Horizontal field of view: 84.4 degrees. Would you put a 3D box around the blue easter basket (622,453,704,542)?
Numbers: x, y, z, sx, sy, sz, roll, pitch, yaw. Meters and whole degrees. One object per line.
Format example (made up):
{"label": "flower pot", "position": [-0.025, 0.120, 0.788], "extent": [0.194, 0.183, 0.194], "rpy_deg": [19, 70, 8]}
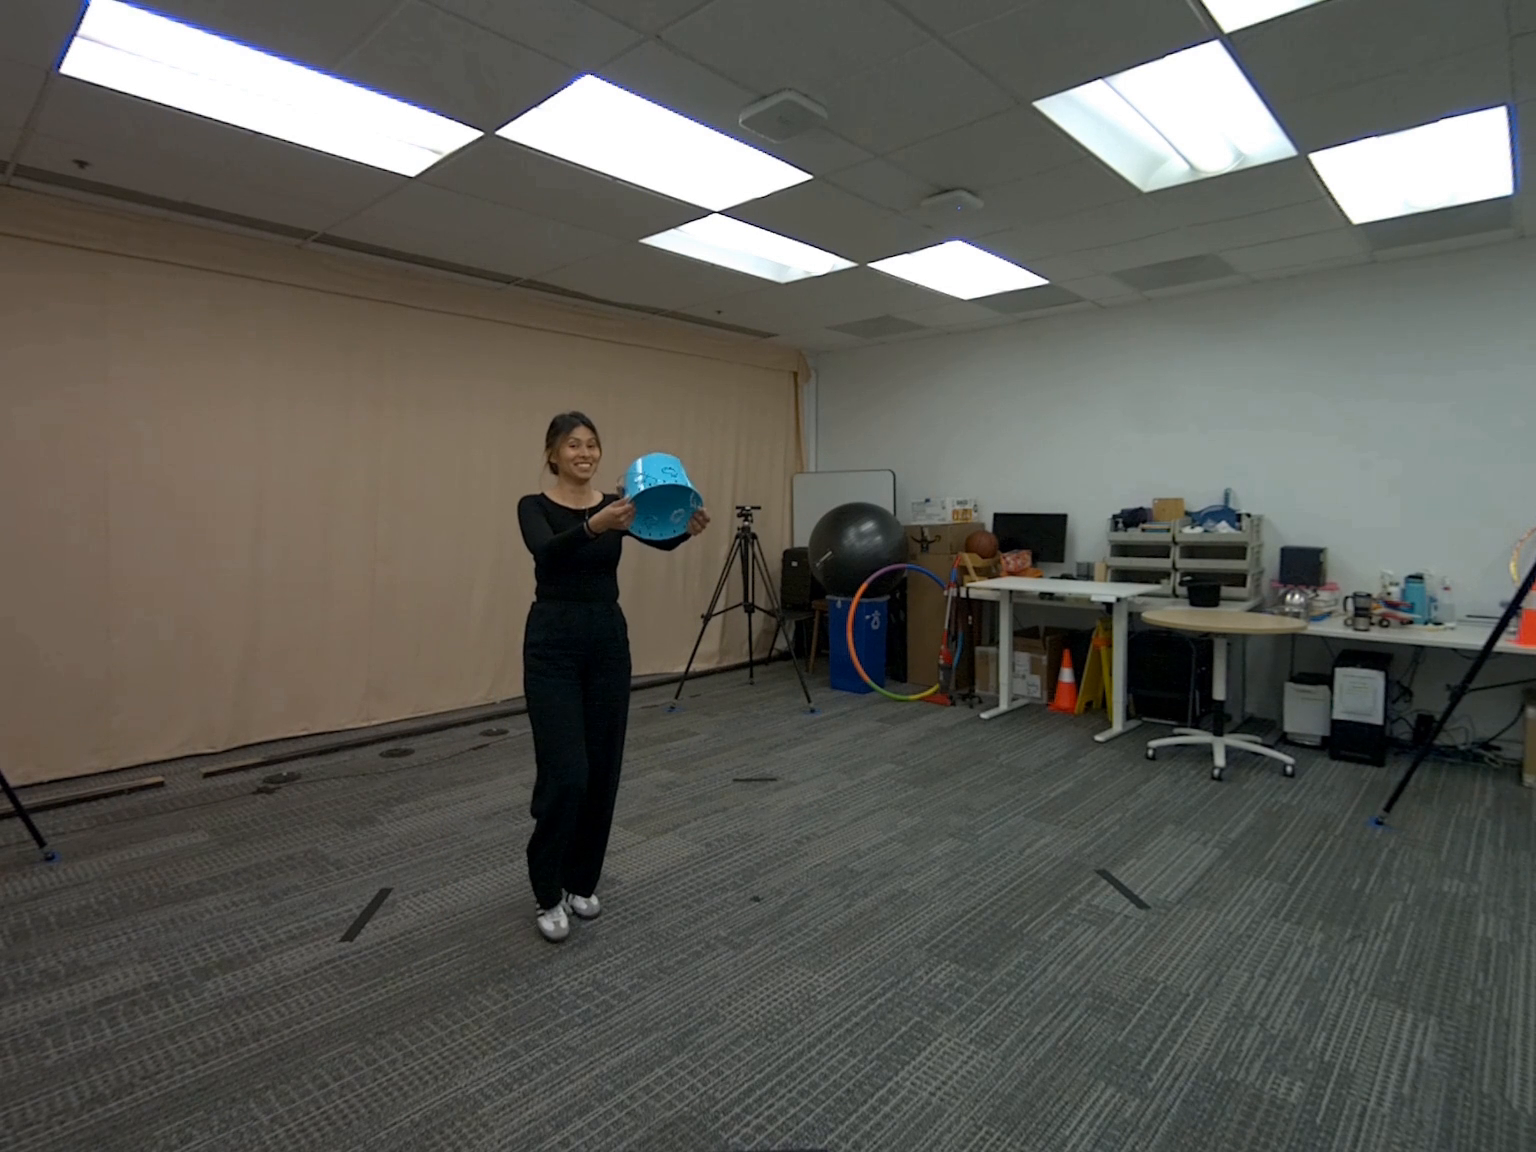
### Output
{"label": "blue easter basket", "position": [-0.315, -0.237, 2.436], "extent": [0.239, 0.241, 0.160], "rpy_deg": [-1, 48, -17]}
